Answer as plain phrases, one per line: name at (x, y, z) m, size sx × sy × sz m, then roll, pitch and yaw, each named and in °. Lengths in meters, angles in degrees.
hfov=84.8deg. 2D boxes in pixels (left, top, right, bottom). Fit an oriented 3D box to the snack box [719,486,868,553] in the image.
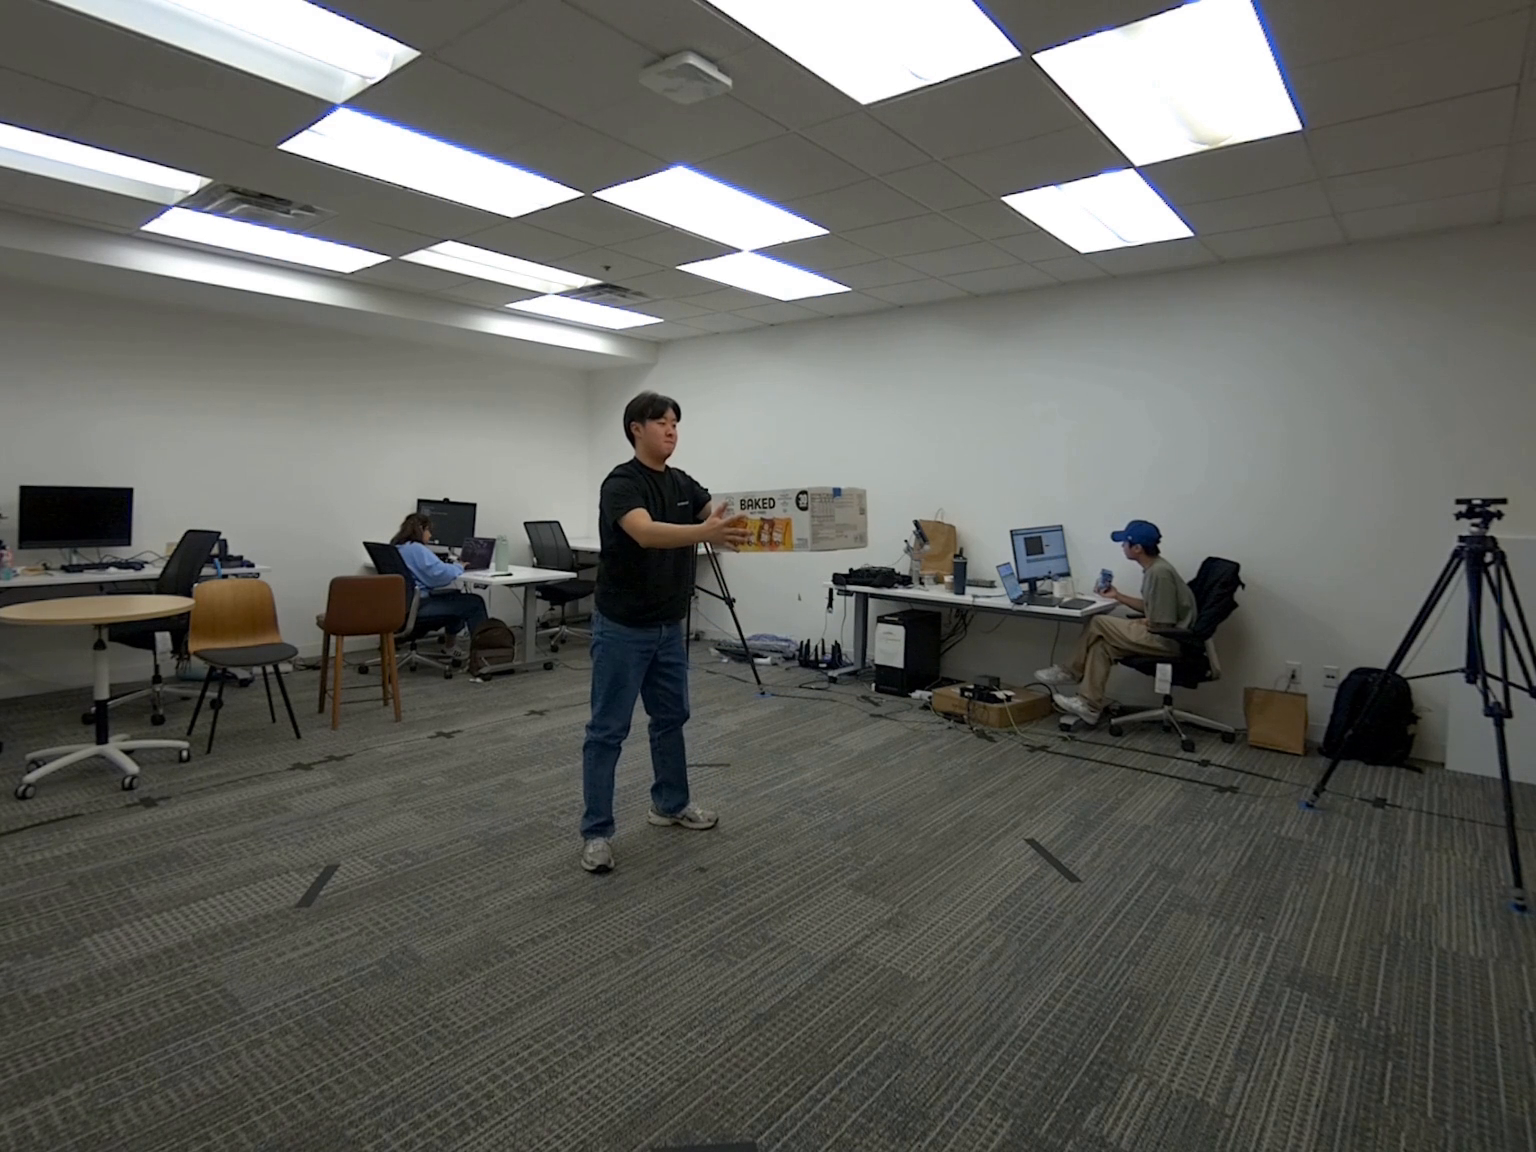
snack box at (0.068, -0.186, 2.887) m, size 0.418 × 0.205 × 0.330 m, roll 1°, pitch 4°, yaw 40°
